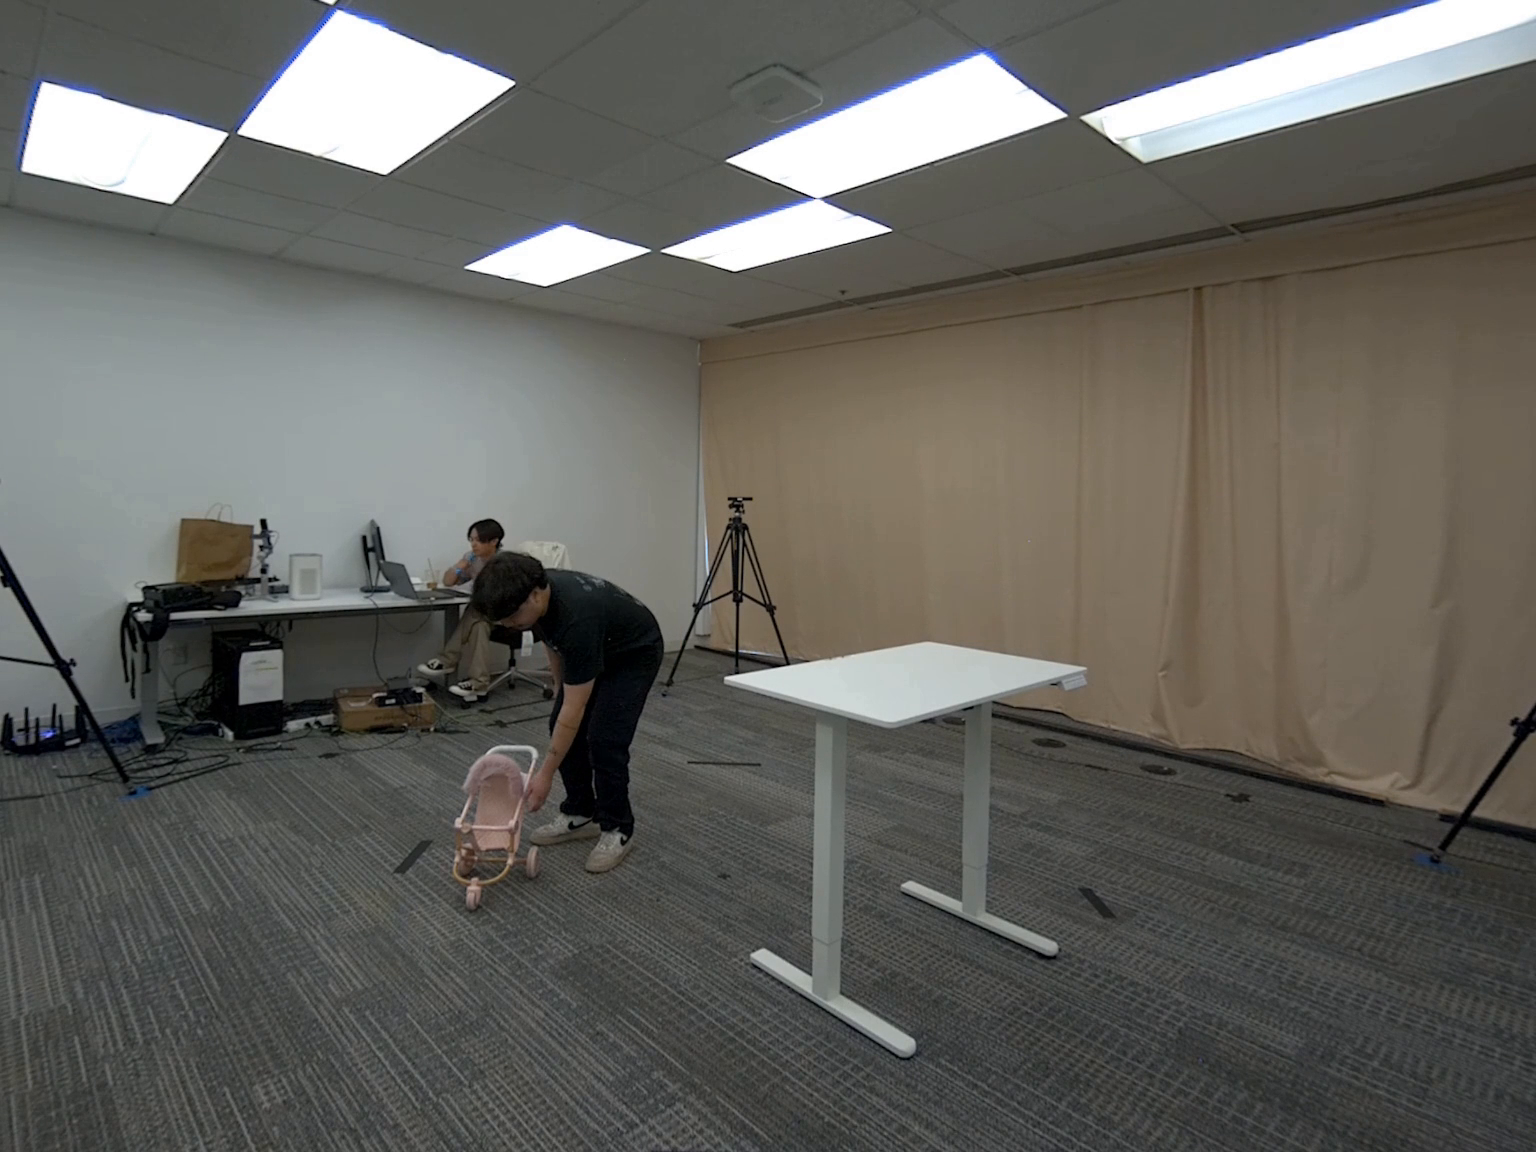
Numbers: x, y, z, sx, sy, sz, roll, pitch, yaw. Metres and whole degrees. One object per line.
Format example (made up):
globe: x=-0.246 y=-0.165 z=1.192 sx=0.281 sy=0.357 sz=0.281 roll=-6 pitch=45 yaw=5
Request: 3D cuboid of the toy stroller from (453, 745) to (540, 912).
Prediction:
toy stroller: x=-0.999 y=0.882 z=2.998 sx=0.284 sy=0.539 sz=0.335 roll=0 pitch=-10 yaw=12
